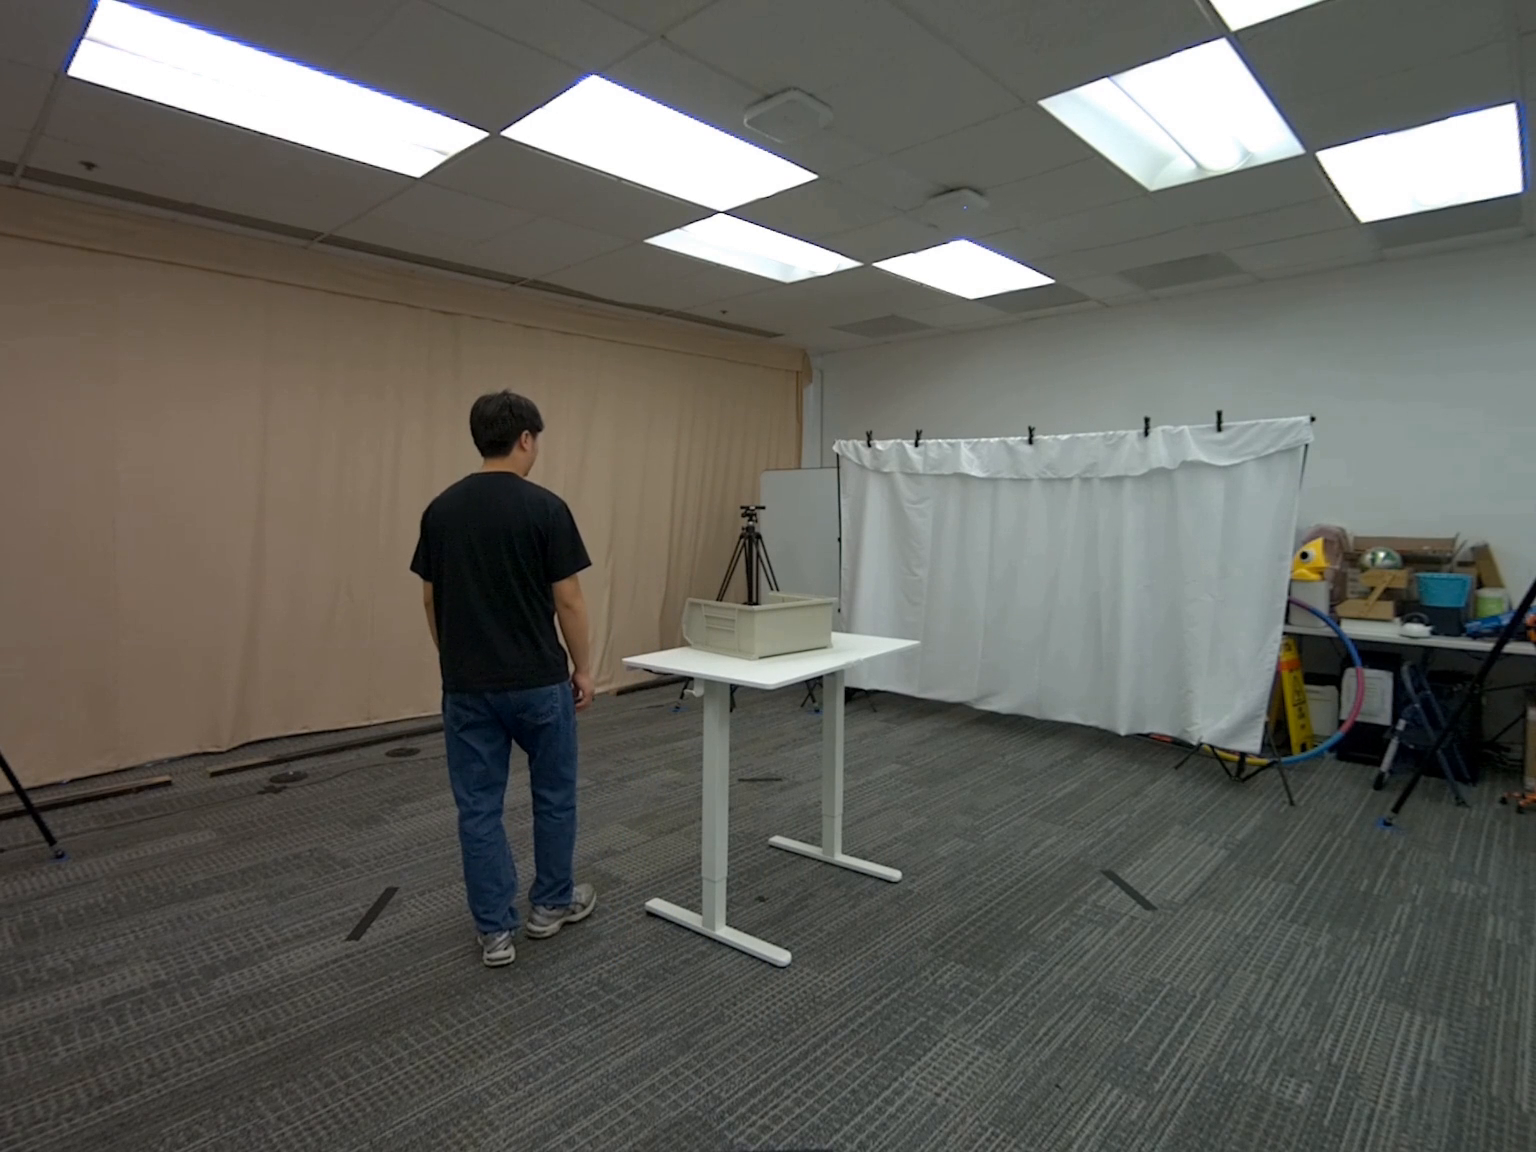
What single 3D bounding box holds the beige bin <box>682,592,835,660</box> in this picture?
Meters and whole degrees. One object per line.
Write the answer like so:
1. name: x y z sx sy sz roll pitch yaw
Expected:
1. beige bin: -0.030 0.169 3.019 0.409 0.188 0.390 -3 7 -44
